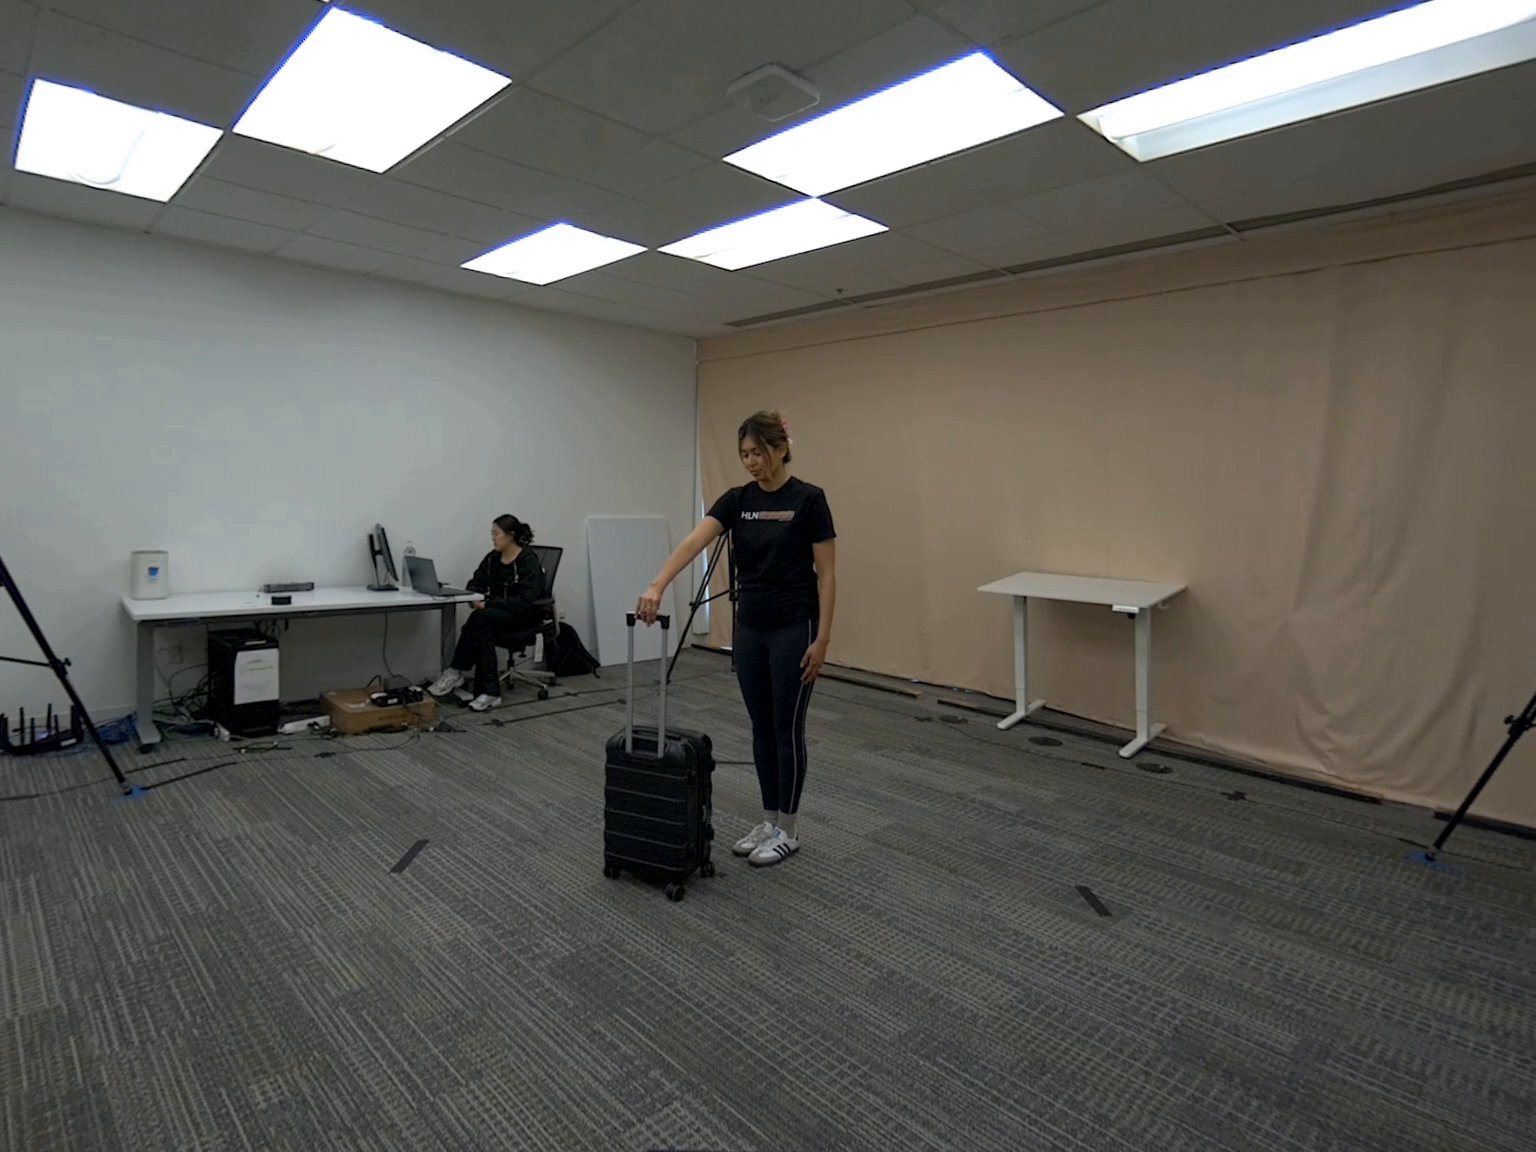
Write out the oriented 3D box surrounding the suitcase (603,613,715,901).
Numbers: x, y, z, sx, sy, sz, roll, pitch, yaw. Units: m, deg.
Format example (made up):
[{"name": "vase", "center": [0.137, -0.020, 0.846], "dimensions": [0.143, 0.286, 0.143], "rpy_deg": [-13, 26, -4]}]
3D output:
[{"name": "suitcase", "center": [-0.403, 0.625, 3.057], "dimensions": [0.391, 0.978, 0.252], "rpy_deg": [2, 1, 24]}]
